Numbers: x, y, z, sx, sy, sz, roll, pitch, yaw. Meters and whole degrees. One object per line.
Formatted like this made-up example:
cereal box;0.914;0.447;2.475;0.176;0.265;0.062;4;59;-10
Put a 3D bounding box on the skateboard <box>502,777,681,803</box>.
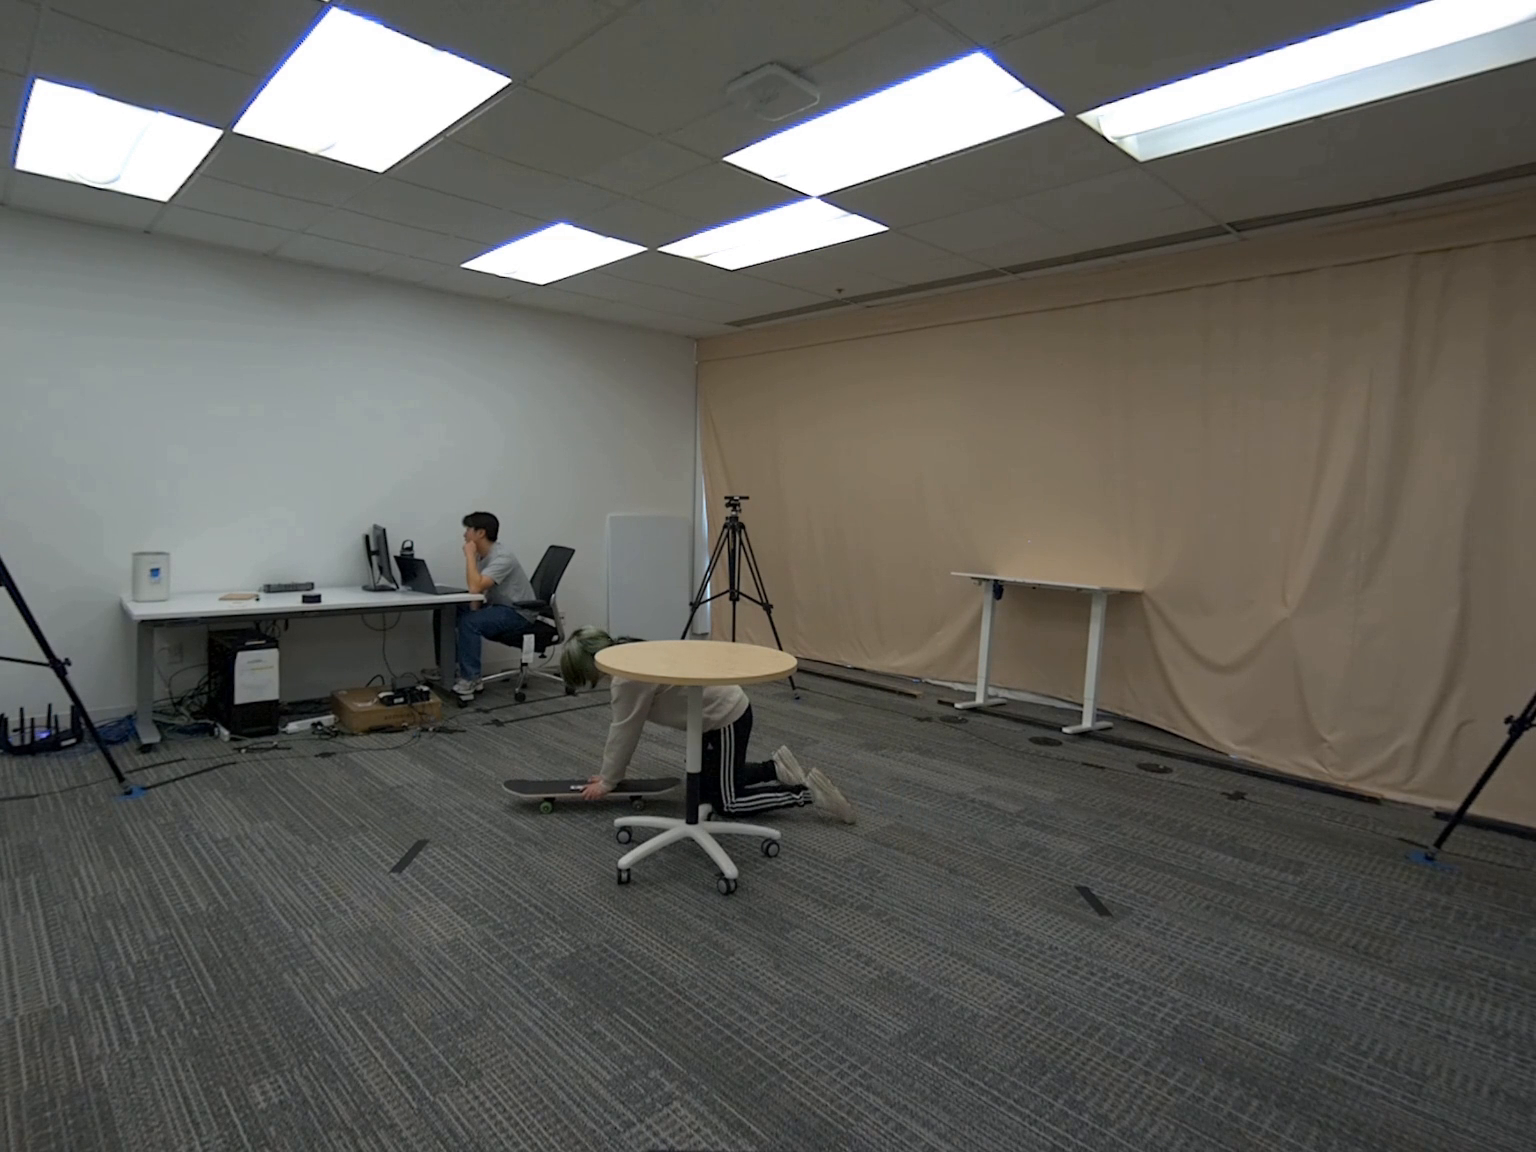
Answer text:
skateboard;-0.783;0.970;3.767;0.780;0.110;0.195;1;4;-7
